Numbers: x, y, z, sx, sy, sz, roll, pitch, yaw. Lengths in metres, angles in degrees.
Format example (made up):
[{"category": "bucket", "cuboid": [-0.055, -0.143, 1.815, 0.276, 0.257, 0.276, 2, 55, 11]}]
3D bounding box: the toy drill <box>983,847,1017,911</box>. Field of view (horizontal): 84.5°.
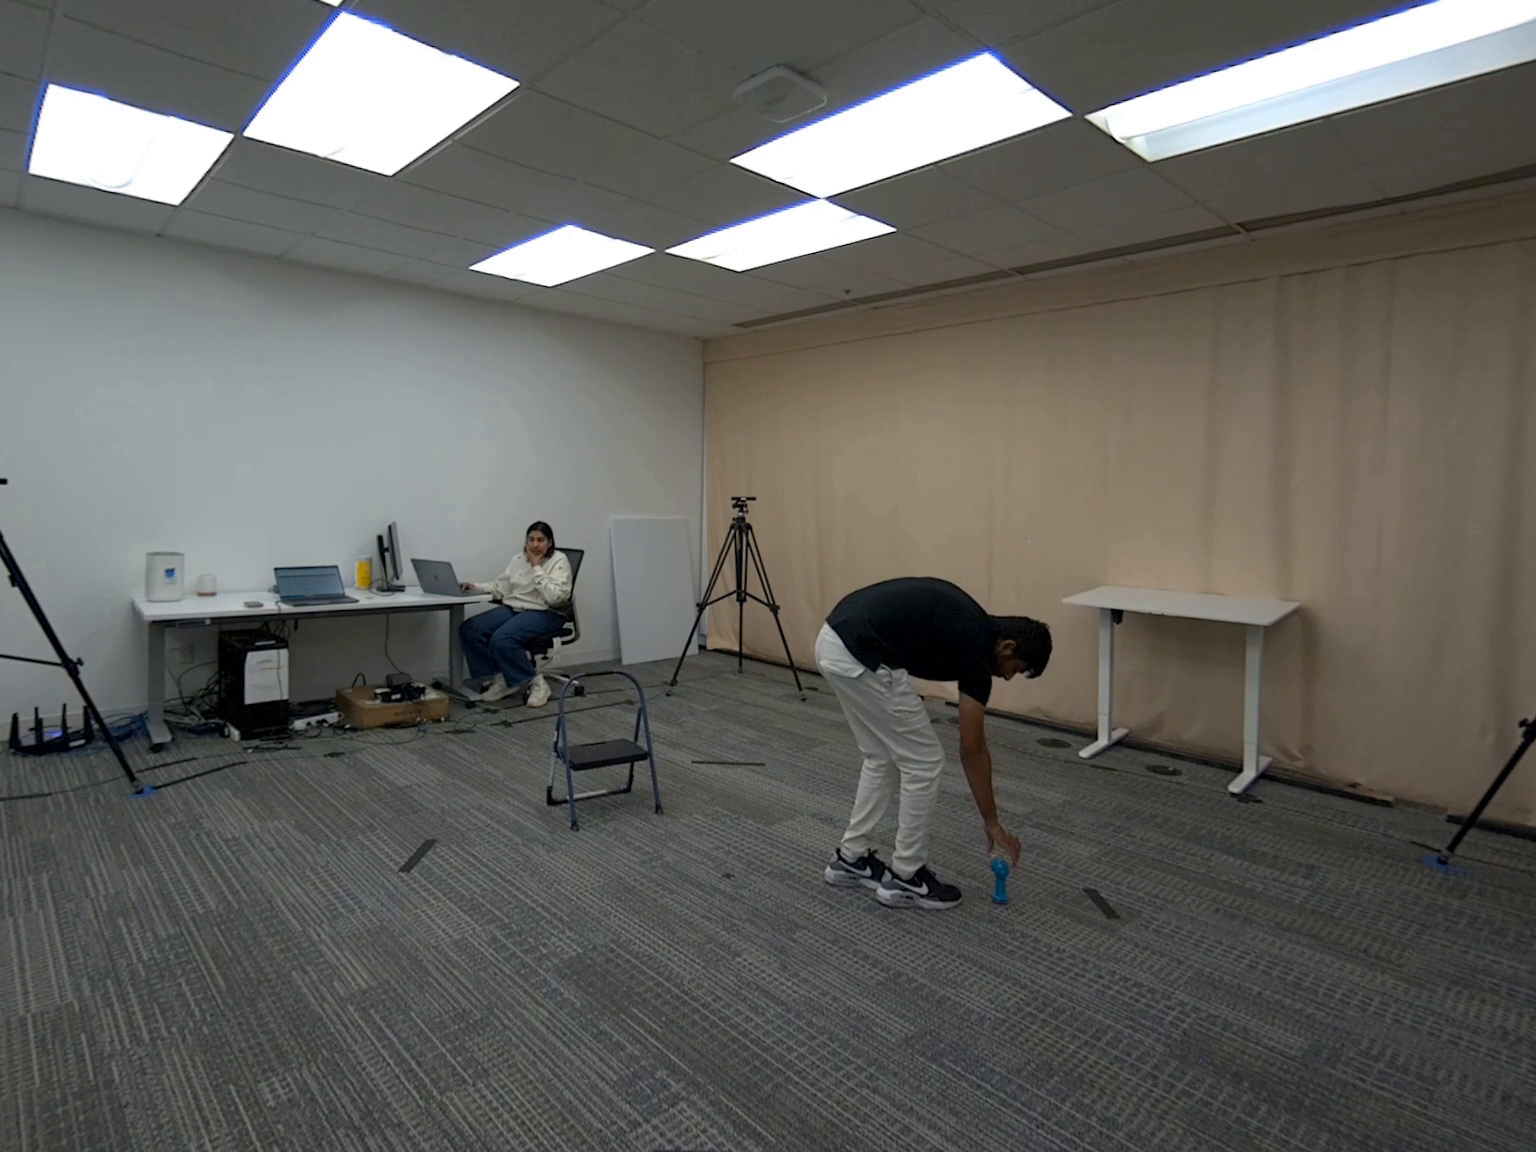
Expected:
[{"category": "toy drill", "cuboid": [0.818, 1.070, 2.998, 0.061, 0.145, 0.170, 3, 5, 1]}]
